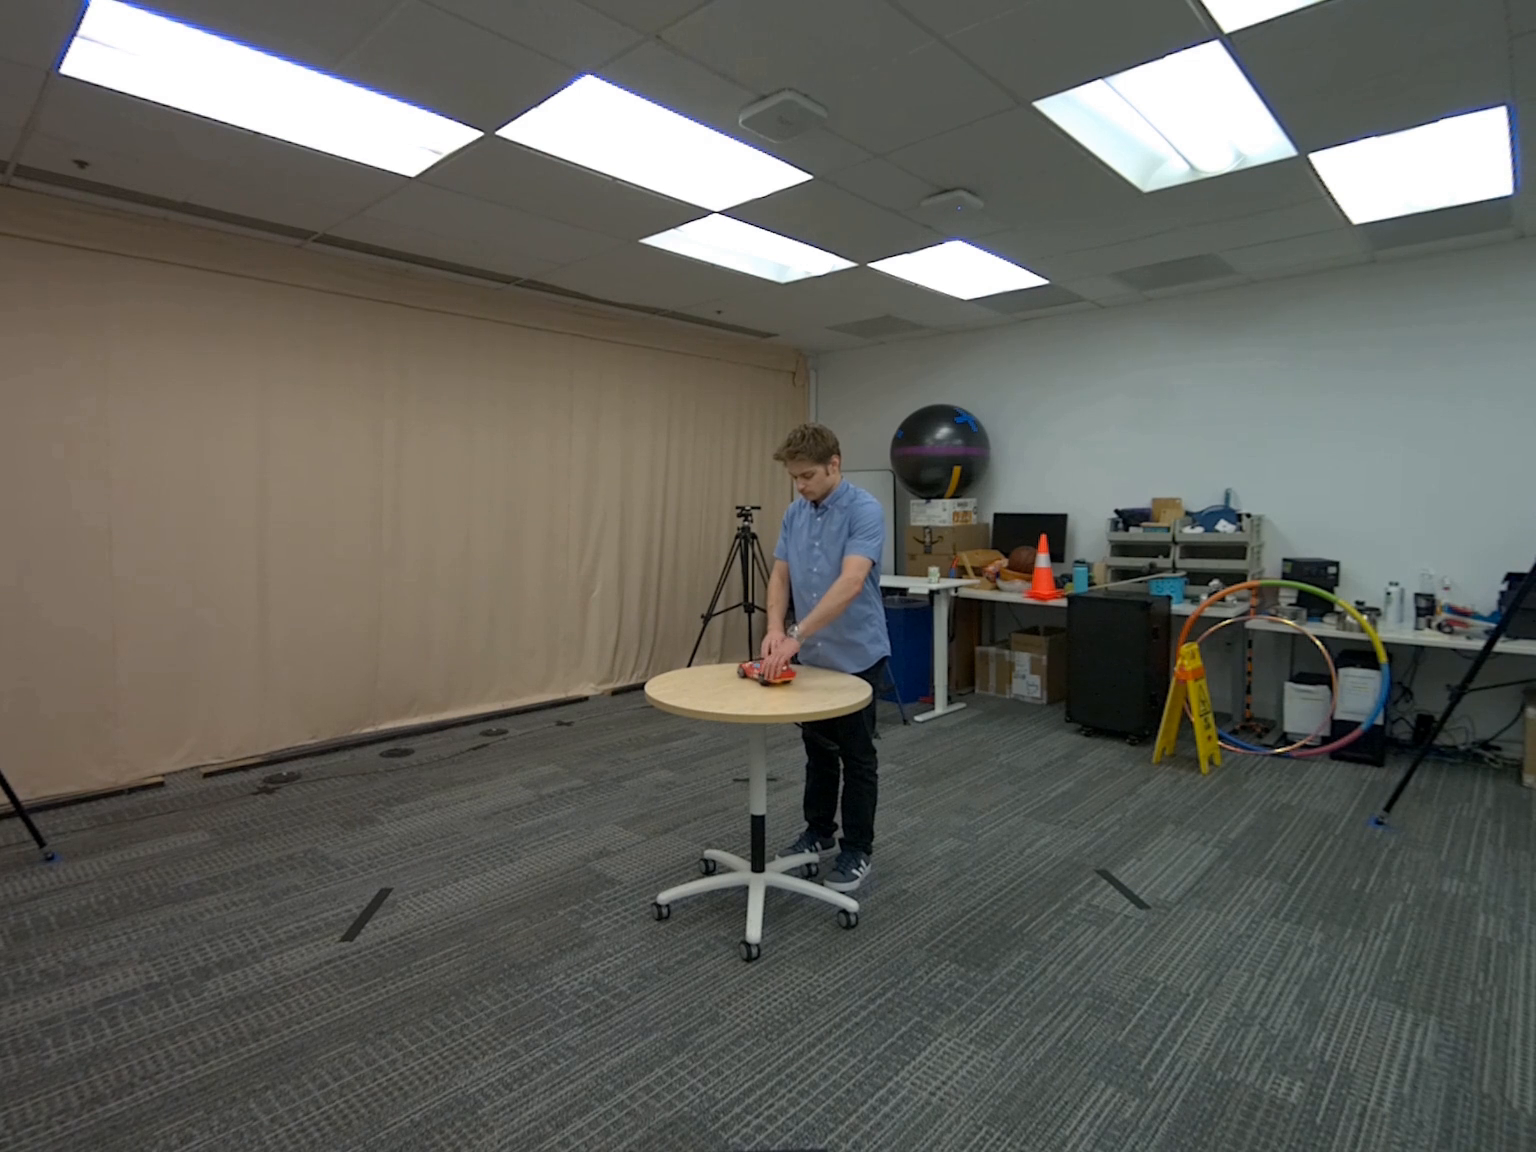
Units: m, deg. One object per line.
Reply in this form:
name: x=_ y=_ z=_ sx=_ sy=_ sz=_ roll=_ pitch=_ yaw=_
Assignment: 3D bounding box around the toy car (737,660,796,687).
toy car: x=0.006 y=0.336 z=2.914 sx=0.127 sy=0.083 sz=0.260 roll=-6 pitch=-2 yaw=-29
